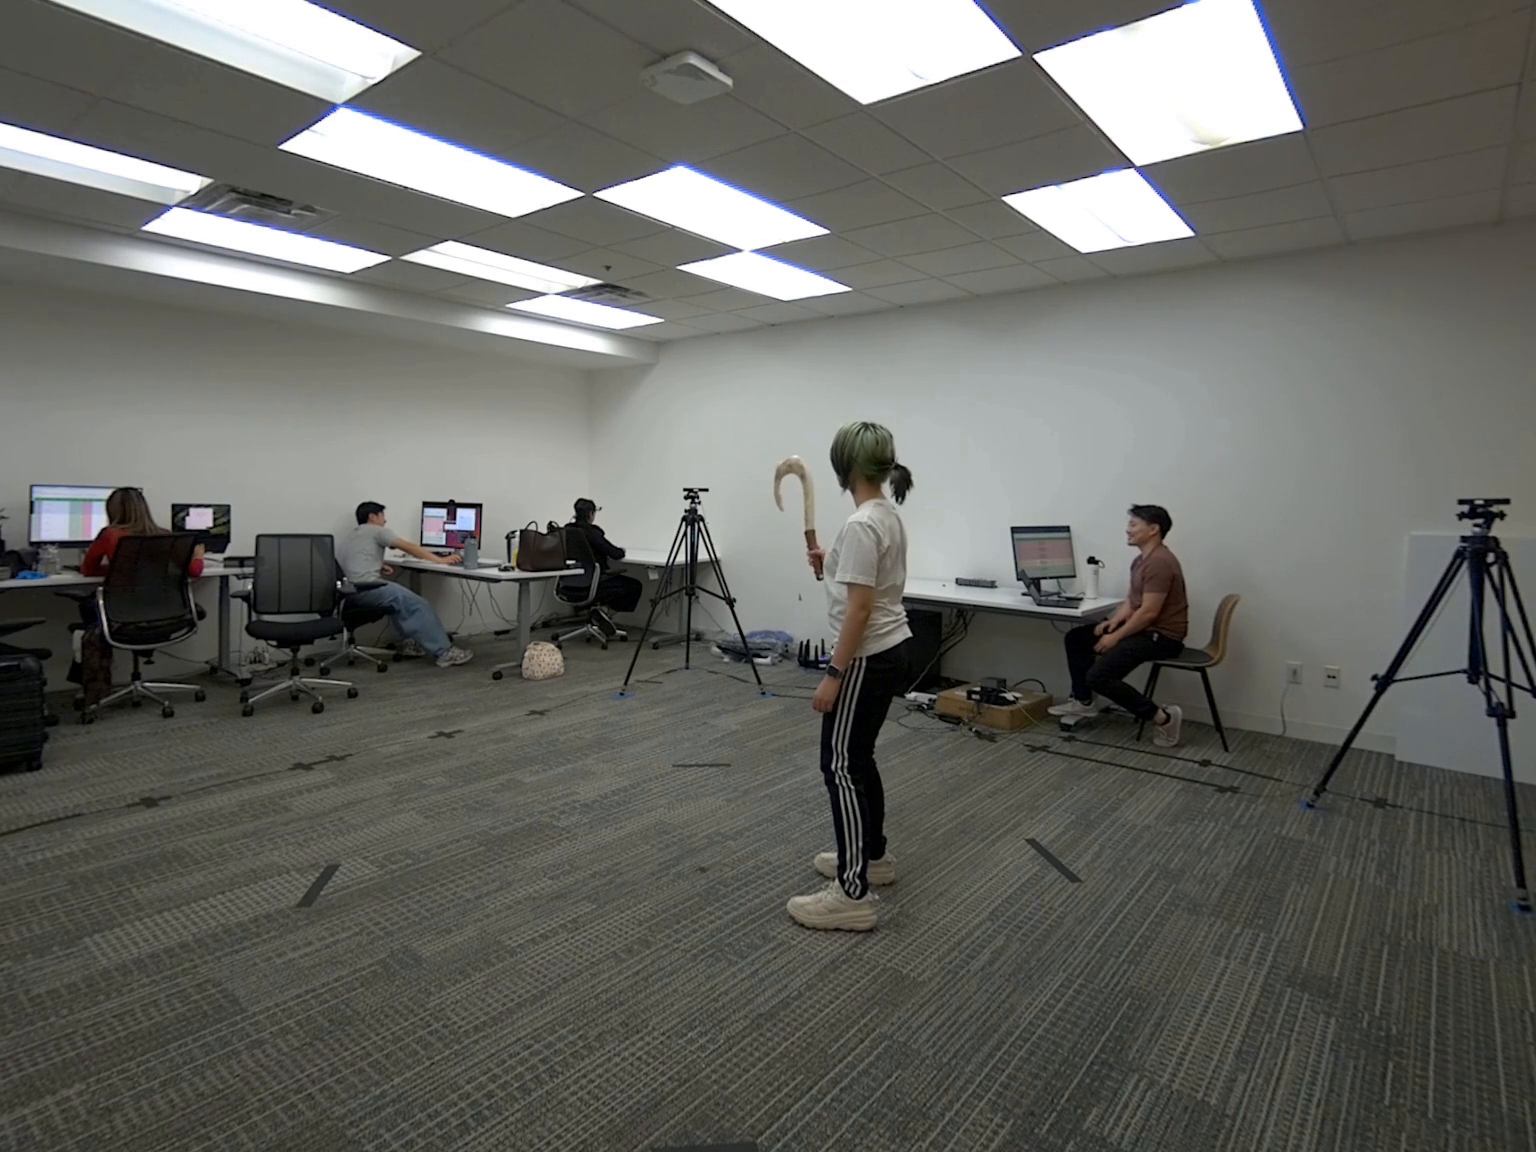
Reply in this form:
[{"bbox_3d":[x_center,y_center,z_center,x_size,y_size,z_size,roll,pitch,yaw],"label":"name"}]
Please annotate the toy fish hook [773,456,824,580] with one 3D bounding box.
[{"bbox_3d":[0.120,-0.219,3.354,0.047,0.512,0.228,-5,-10,-35],"label":"toy fish hook"}]
